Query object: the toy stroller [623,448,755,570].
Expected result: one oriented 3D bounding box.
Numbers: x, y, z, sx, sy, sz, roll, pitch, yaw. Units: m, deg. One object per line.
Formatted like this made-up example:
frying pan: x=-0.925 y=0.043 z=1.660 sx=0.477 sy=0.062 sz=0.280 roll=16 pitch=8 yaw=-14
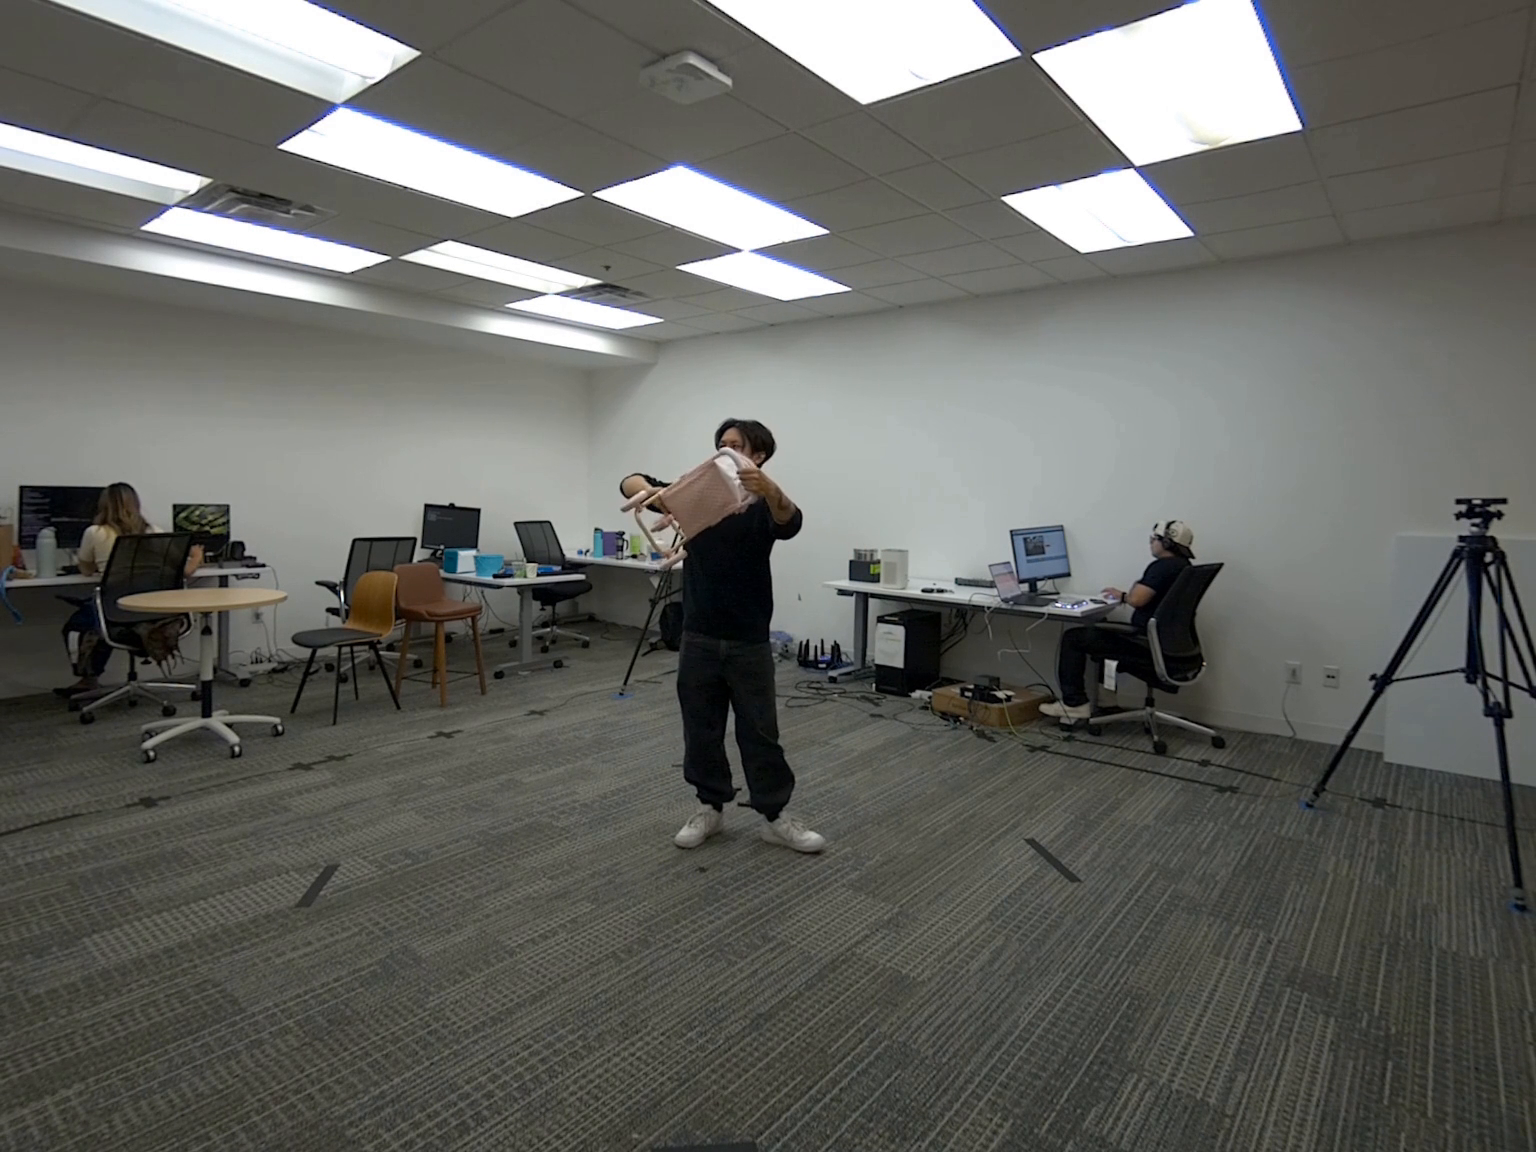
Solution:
toy stroller: x=-0.260 y=-0.257 z=3.018 sx=0.539 sy=0.281 sz=0.340 roll=-33 pitch=3 yaw=20
